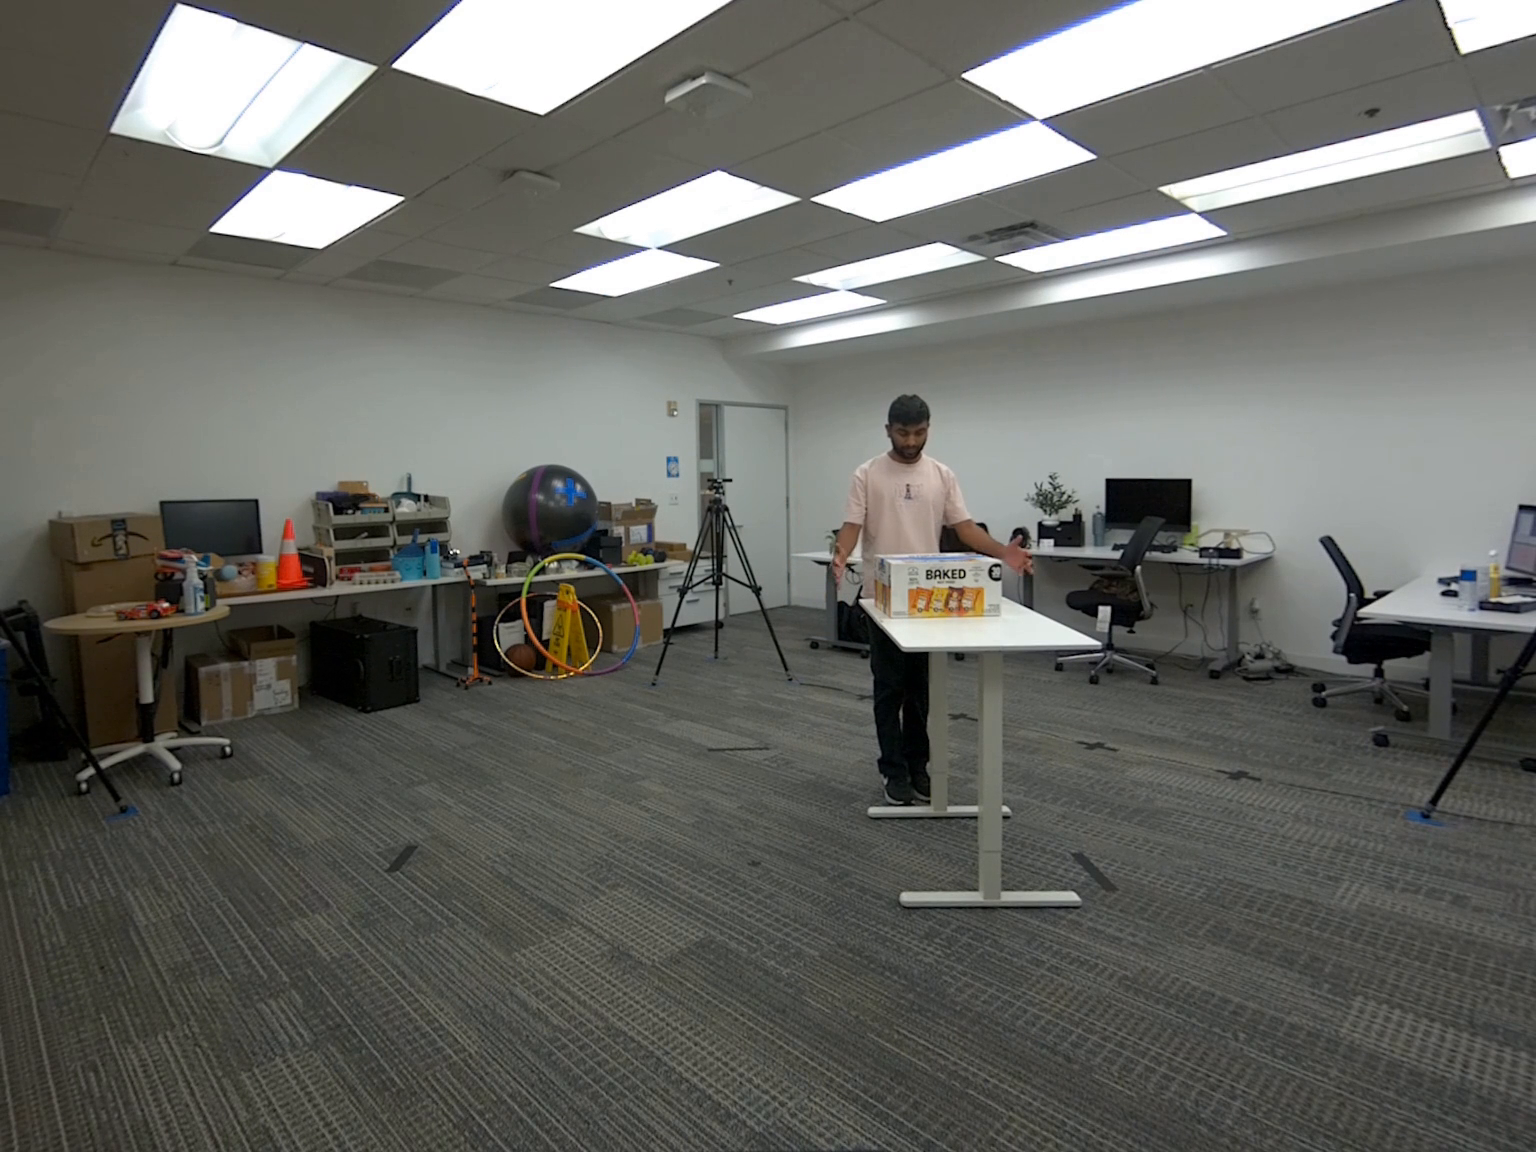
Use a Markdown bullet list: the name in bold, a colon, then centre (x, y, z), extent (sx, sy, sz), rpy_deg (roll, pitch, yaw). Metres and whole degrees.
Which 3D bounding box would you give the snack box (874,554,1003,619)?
- **snack box**: centre (0.636, 0.033, 3.266), extent (0.404, 0.205, 0.343), rpy_deg (-1, 6, -2)
